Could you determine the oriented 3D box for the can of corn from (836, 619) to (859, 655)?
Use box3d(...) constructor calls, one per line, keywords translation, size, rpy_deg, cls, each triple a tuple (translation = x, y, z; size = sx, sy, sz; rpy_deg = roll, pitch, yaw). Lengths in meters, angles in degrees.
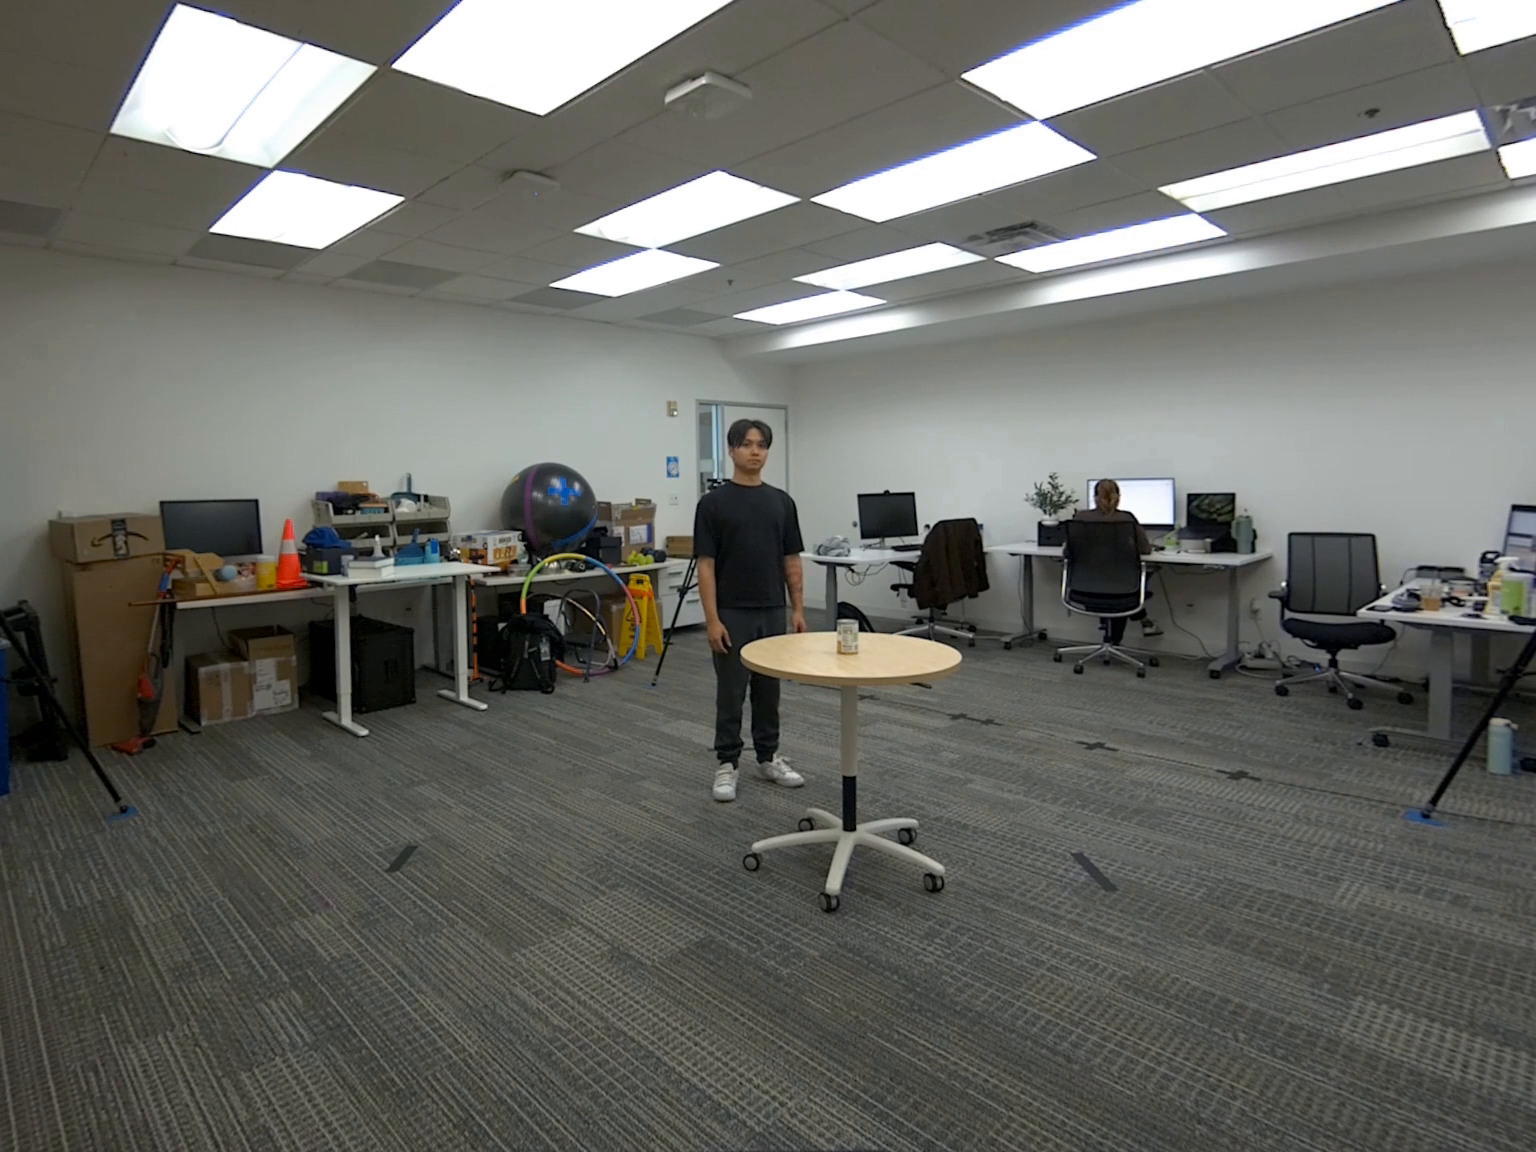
box3d(translation=(0.280, 0.217, 2.991), size=(0.074, 0.110, 0.075), rpy_deg=(1, 6, -2), cls="can of corn")
